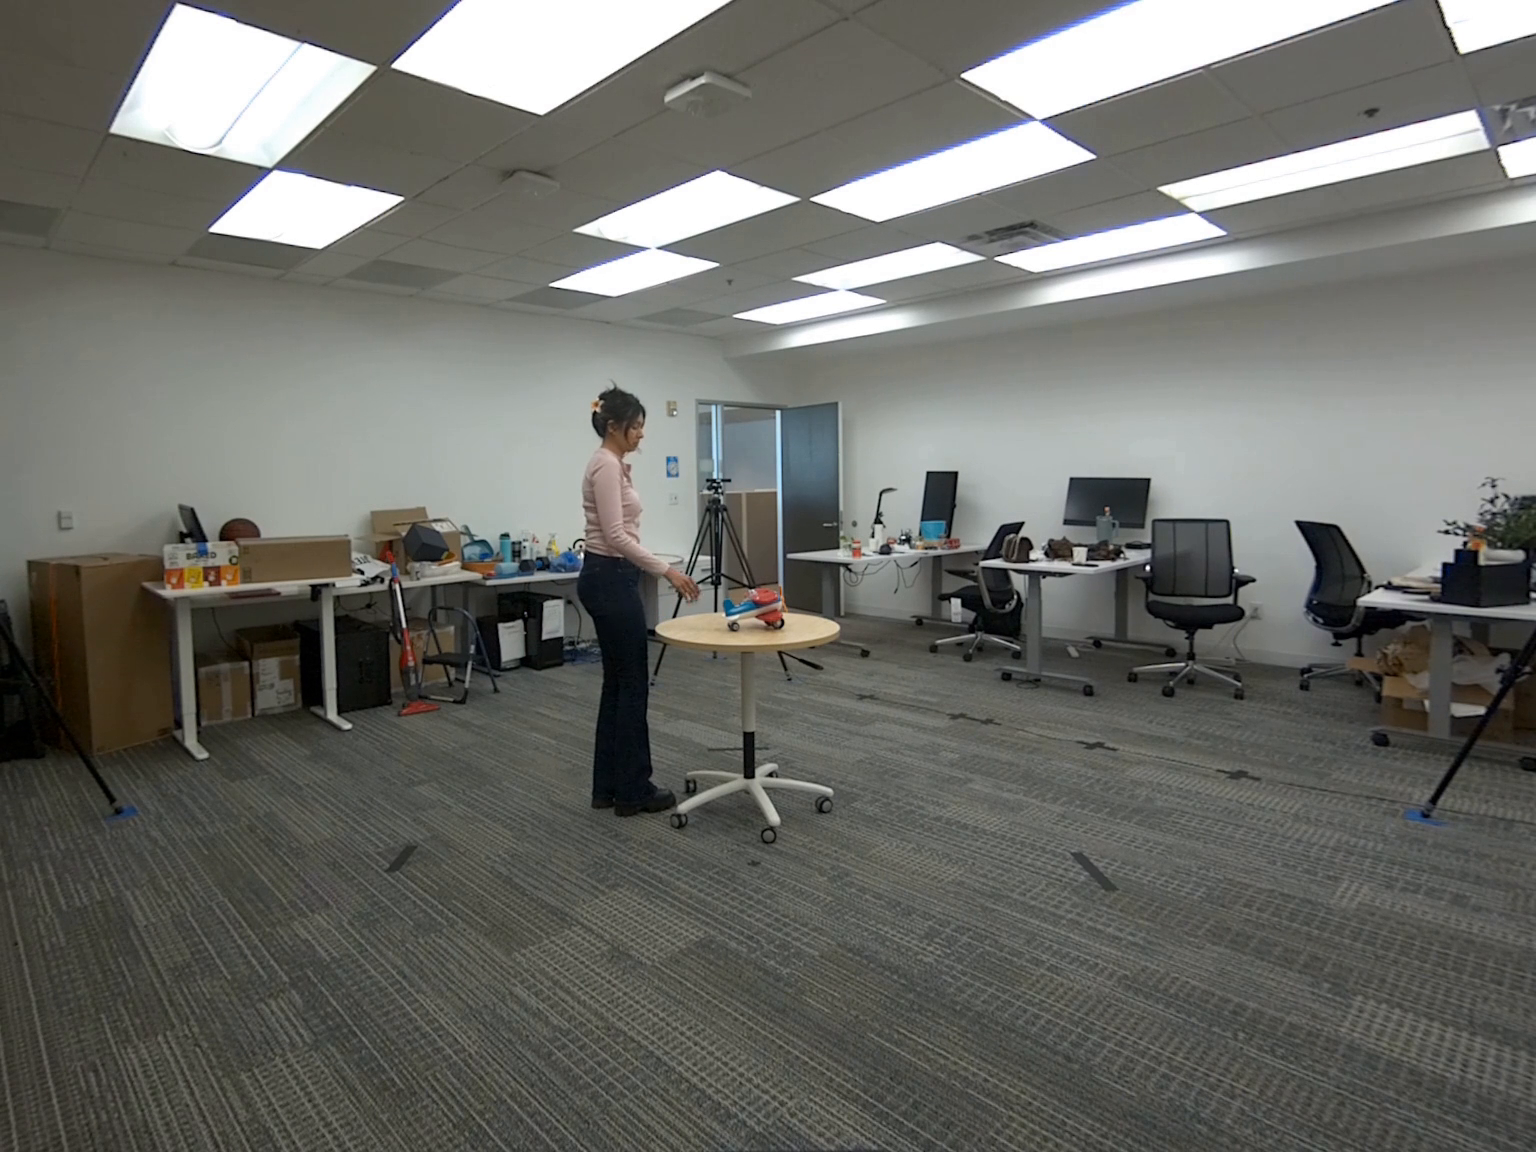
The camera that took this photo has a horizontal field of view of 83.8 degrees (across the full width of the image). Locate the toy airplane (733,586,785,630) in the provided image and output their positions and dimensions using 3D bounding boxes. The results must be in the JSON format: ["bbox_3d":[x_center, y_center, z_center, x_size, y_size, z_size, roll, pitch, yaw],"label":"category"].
[{"bbox_3d":[-0.052,0.141,3.479,0.252,0.156,0.259,-6,8,-44],"label":"toy airplane"}]
